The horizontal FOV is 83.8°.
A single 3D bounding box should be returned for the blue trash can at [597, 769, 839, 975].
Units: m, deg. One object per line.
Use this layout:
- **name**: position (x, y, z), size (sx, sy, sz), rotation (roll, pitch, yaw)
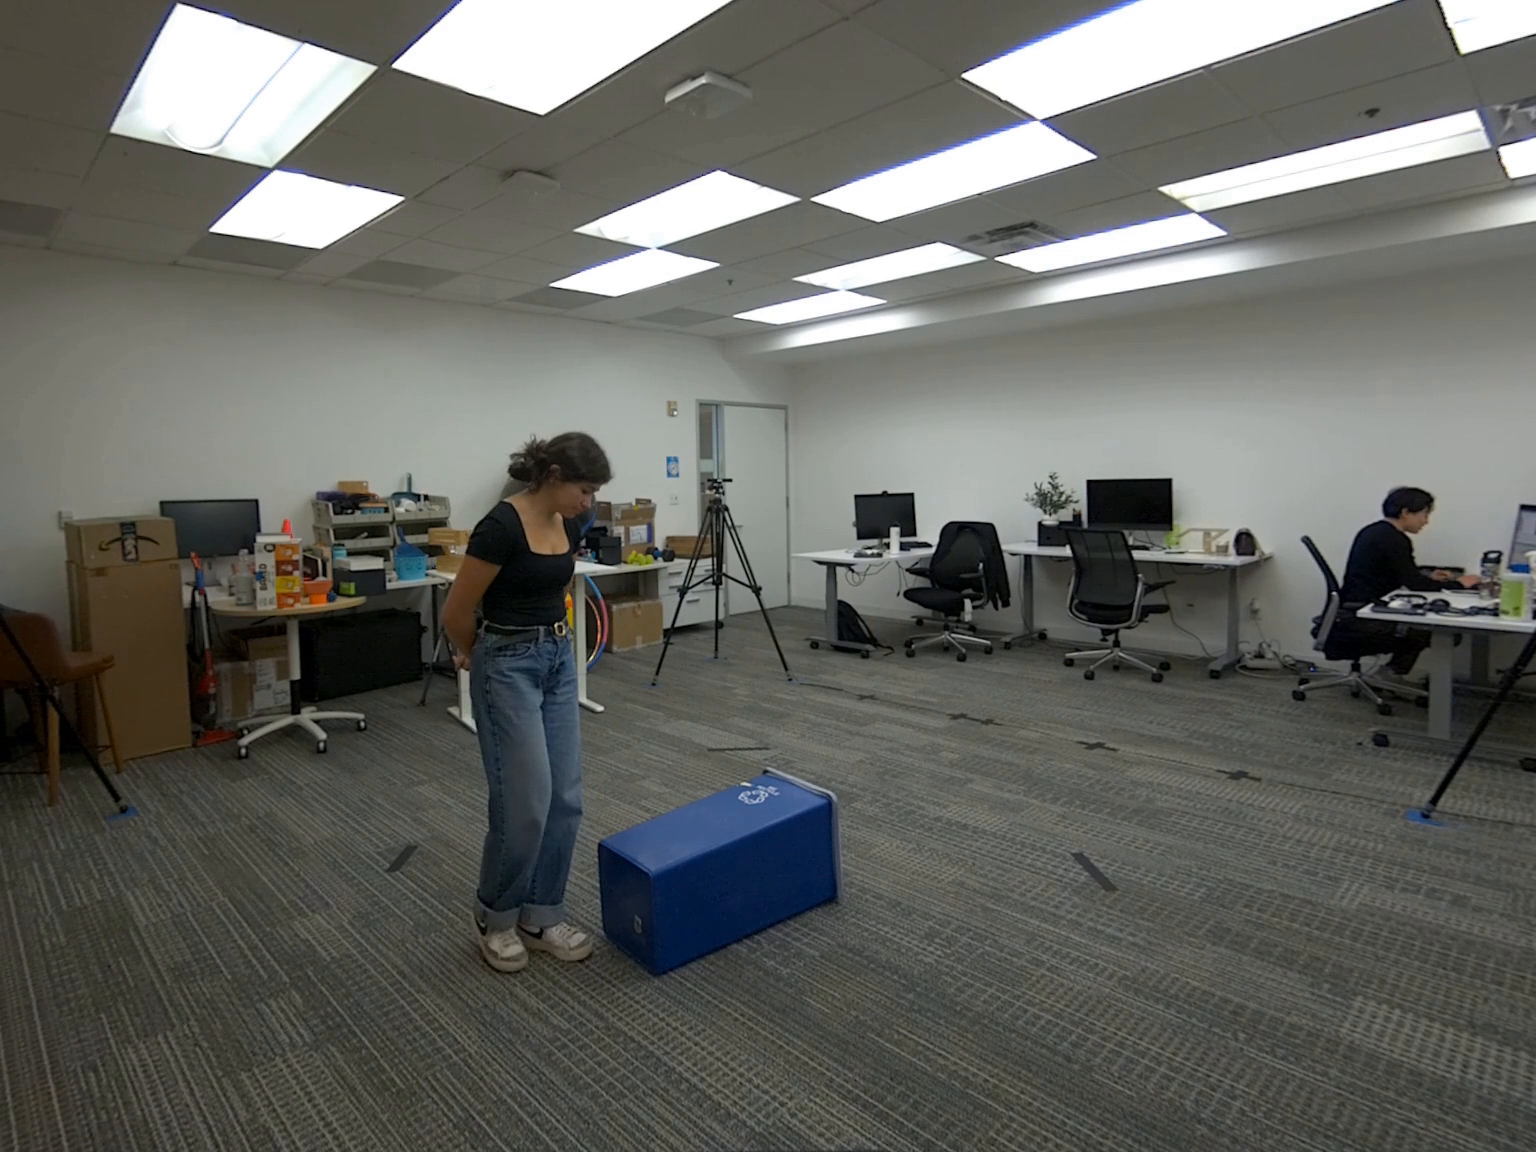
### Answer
- **blue trash can**: position (-0.144, 0.925, 2.719), size (0.697, 0.376, 0.385), rotation (-10, 10, -39)
